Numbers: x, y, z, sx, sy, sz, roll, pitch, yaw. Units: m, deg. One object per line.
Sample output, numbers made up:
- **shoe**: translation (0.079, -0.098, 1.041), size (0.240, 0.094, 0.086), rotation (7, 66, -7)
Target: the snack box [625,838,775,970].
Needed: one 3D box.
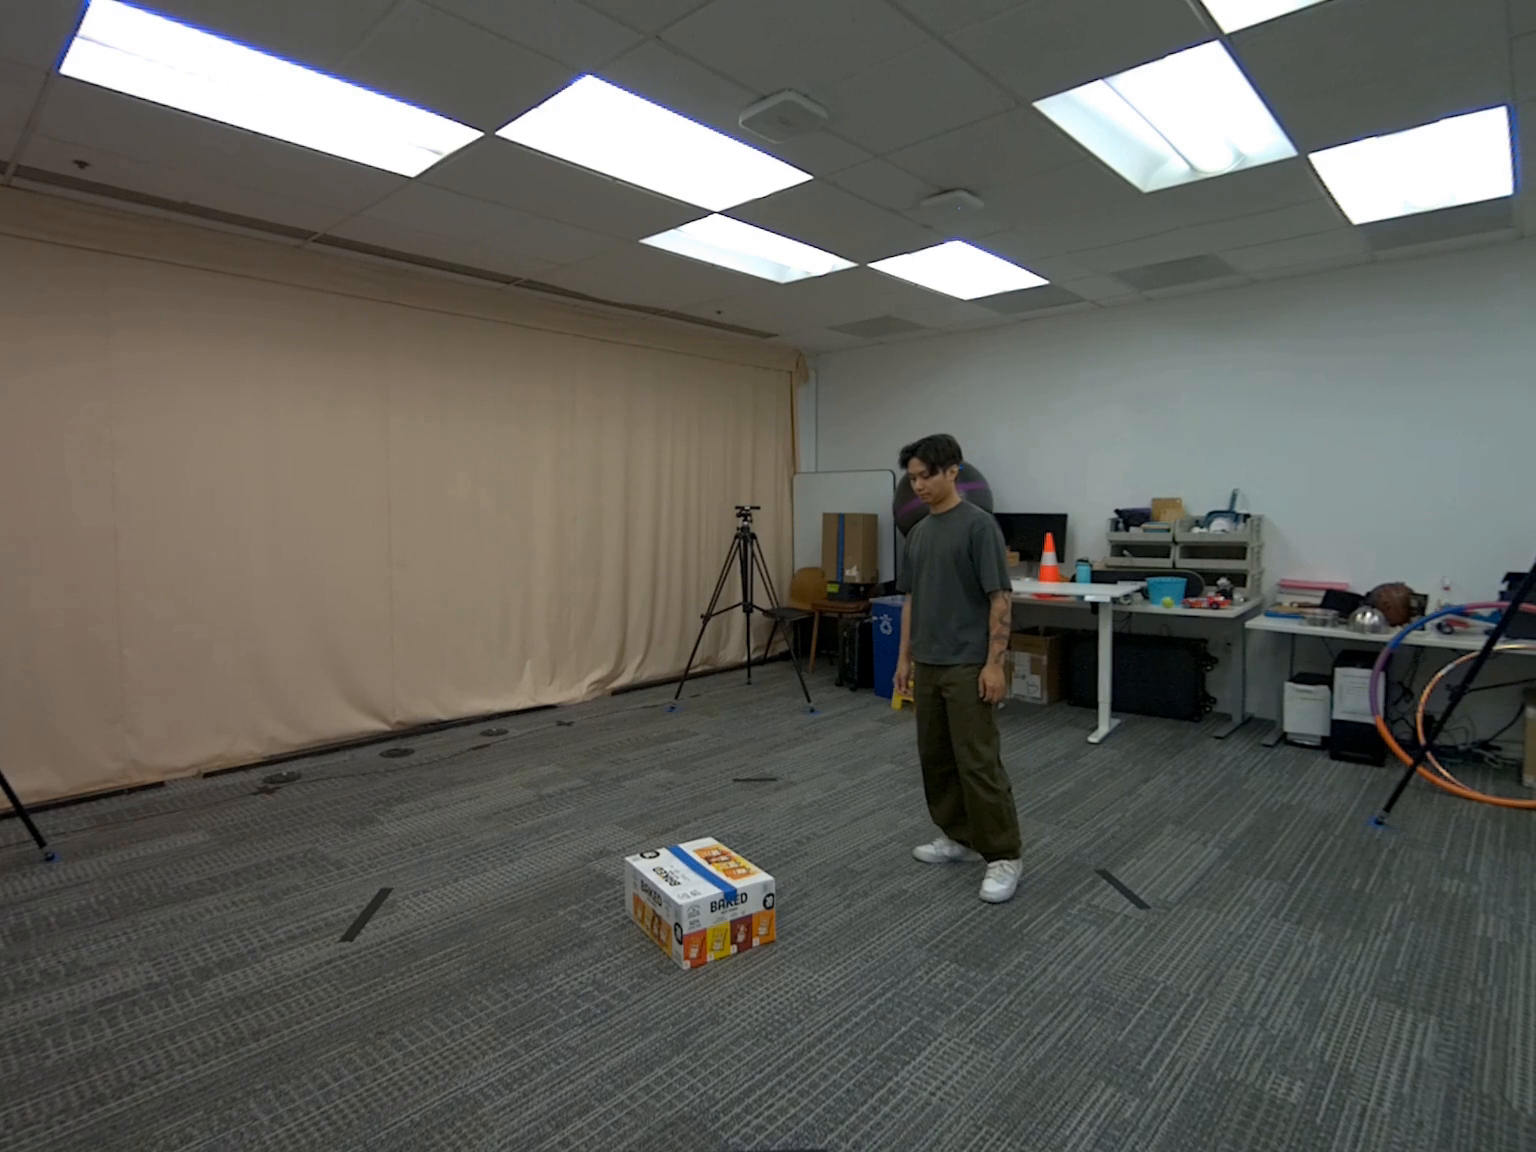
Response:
- **snack box**: translation (-0.232, 1.056, 2.773), size (0.331, 0.205, 0.417), rotation (-3, 5, -33)
